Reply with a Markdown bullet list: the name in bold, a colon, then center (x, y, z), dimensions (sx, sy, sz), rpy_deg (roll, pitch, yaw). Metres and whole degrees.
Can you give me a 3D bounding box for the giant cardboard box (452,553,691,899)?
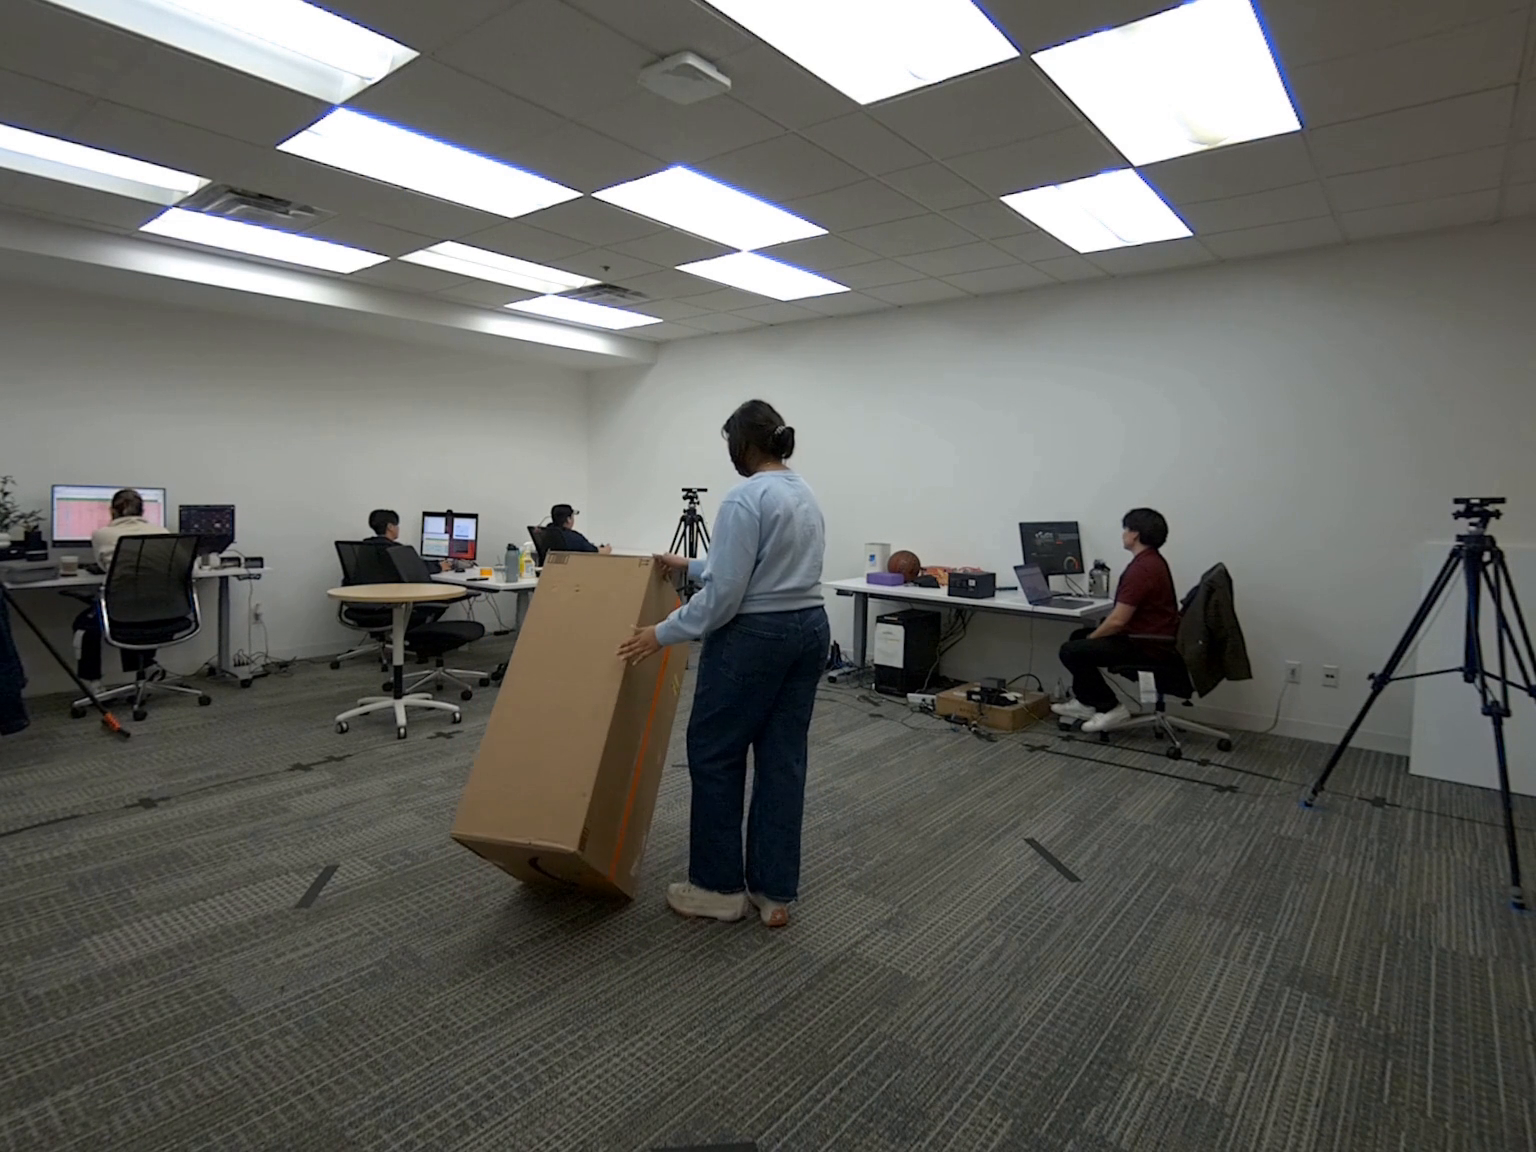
- **giant cardboard box**: center (-0.634, 0.500, 2.969), dimensions (0.454, 1.047, 0.563), rpy_deg (2, -33, 14)
